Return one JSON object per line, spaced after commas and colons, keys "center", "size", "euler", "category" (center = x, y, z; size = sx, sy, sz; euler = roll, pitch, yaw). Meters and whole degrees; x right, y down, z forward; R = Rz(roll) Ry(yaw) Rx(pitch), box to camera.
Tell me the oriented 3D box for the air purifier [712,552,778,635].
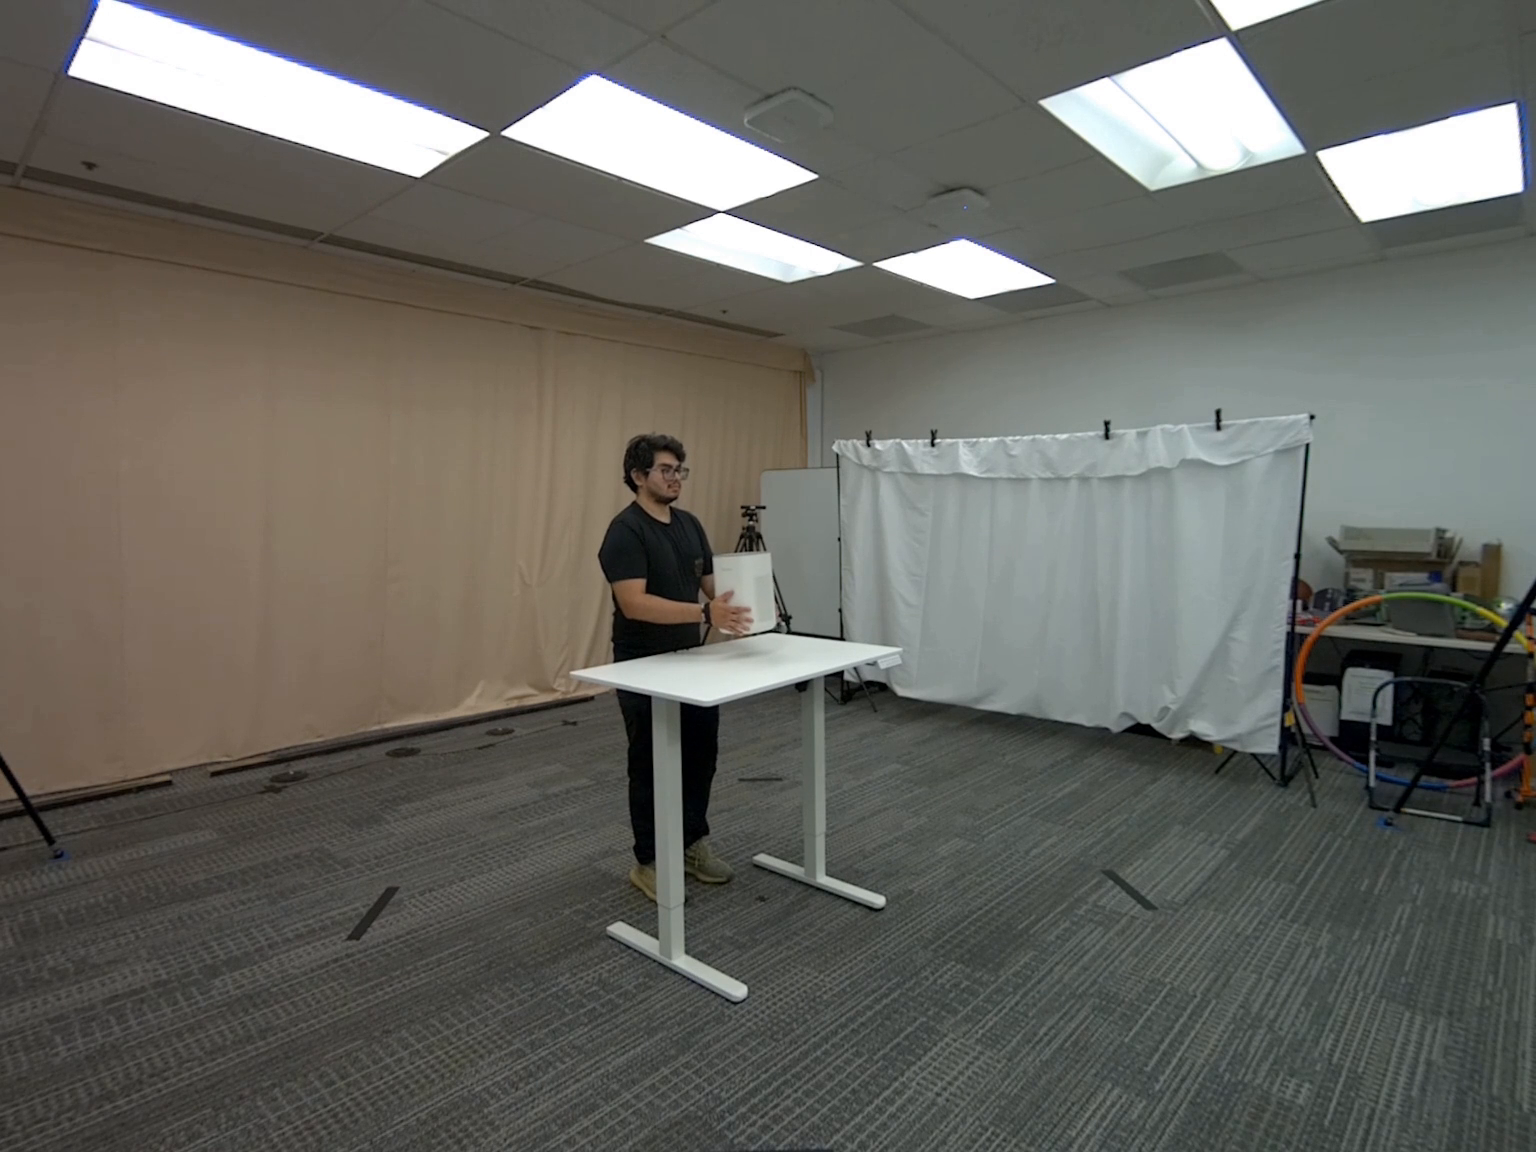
{"center": [-0.073, 0.052, 2.839], "size": [0.176, 0.265, 0.167], "euler": [-4, 2, 37], "category": "air purifier"}
